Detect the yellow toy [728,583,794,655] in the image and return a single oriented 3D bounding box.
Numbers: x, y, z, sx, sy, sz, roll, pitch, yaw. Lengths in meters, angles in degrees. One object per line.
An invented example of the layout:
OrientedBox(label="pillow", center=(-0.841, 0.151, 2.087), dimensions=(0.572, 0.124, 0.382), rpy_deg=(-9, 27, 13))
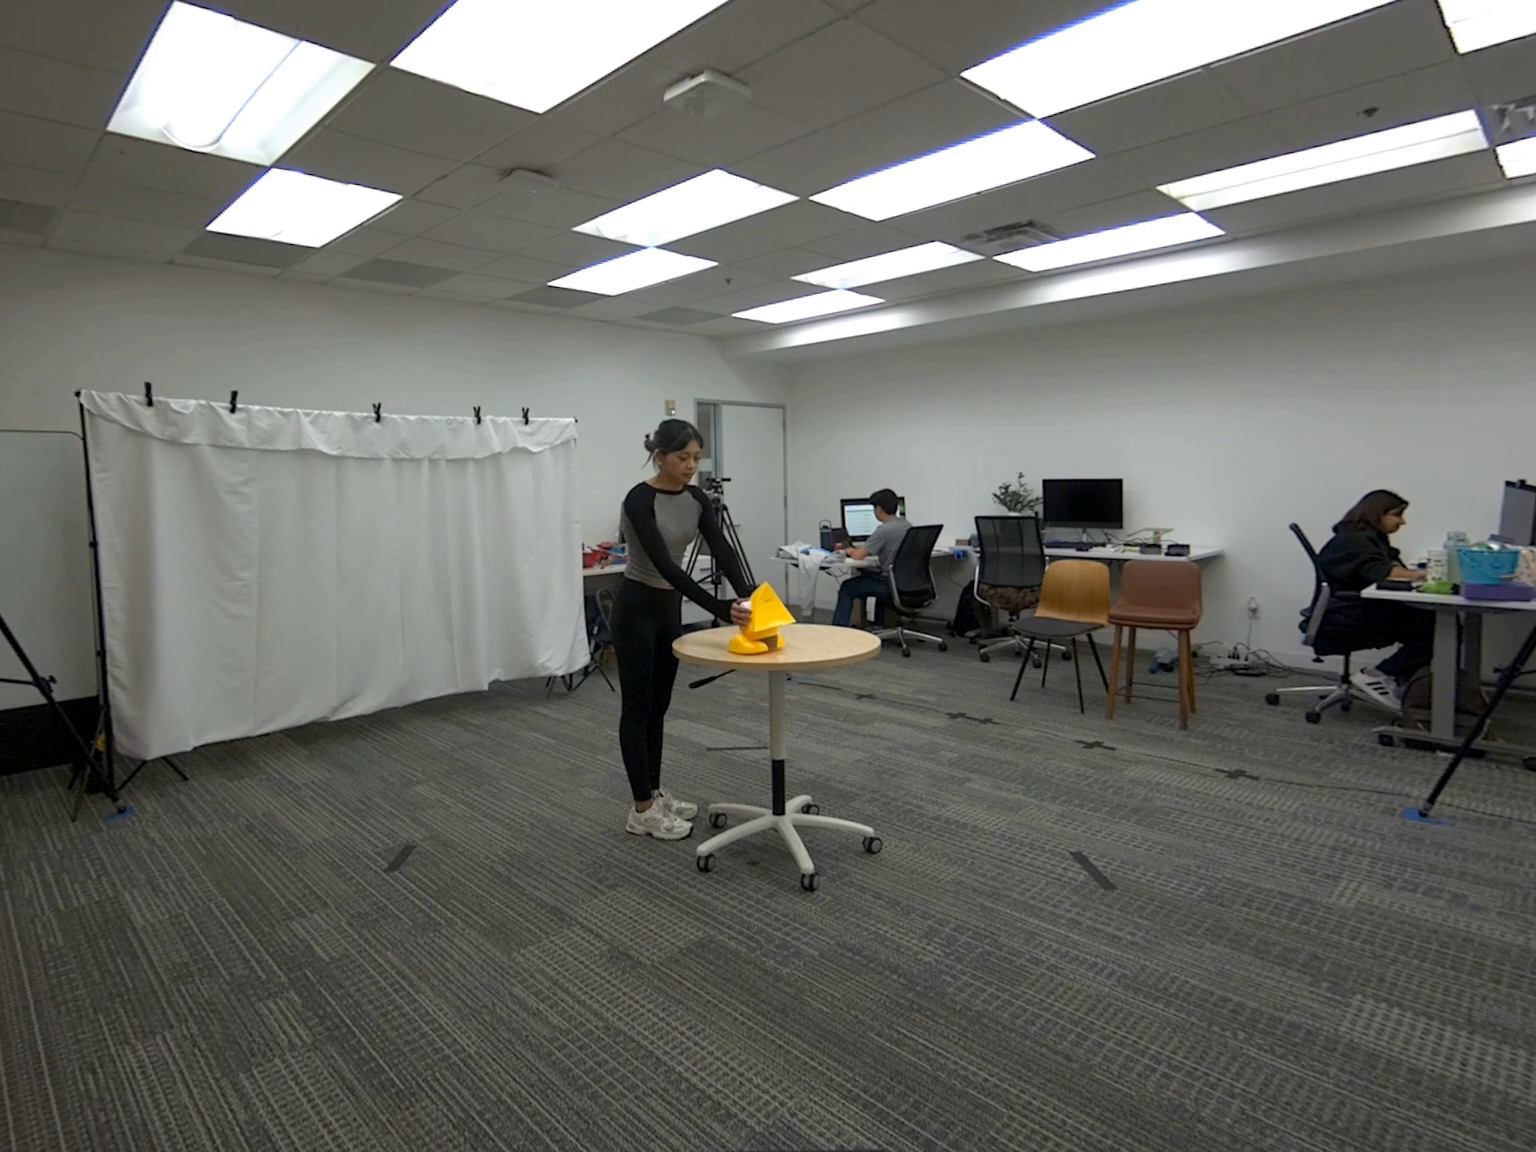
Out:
OrientedBox(label="yellow toy", center=(-0.040, 0.134, 2.987), dimensions=(0.200, 0.230, 0.199), rpy_deg=(-10, 7, -44))
